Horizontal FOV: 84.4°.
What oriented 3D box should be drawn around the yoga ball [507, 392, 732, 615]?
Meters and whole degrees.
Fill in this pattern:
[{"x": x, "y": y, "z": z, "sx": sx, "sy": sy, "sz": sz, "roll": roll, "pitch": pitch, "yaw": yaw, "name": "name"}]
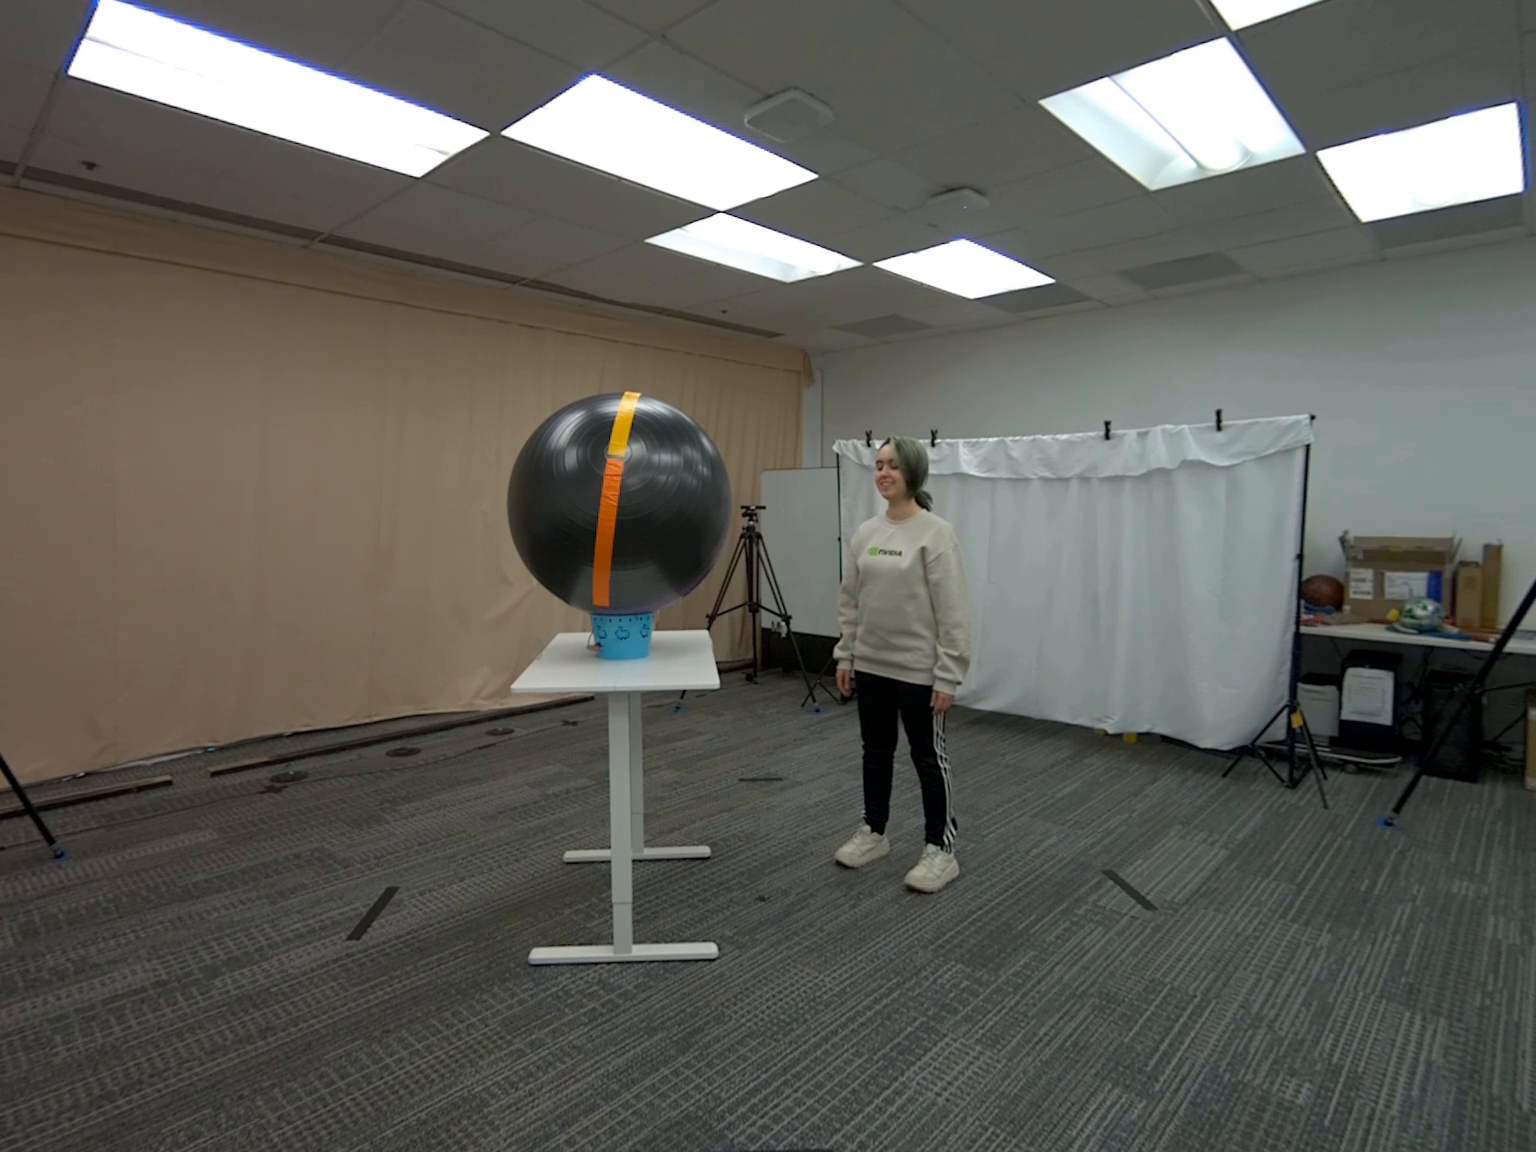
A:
[{"x": -0.495, "y": -0.235, "z": 2.865, "sx": 0.757, "sy": 0.756, "sz": 0.760, "roll": 0, "pitch": 4, "yaw": -2, "name": "yoga ball"}]
